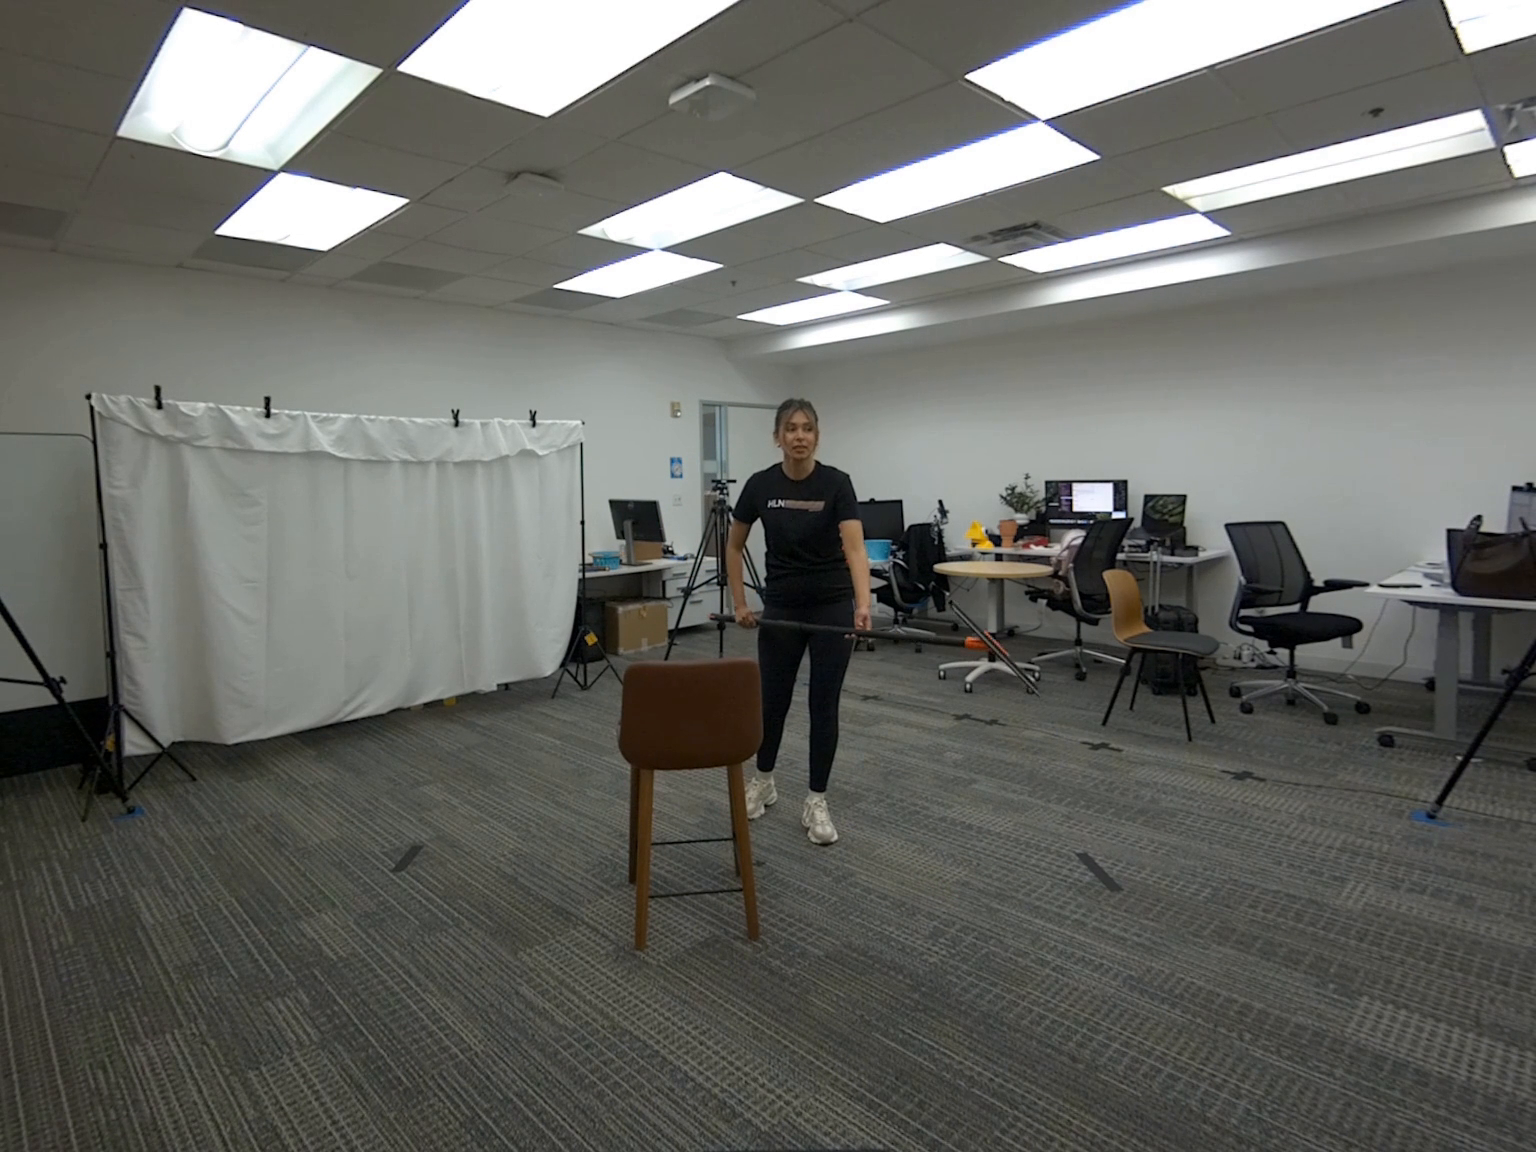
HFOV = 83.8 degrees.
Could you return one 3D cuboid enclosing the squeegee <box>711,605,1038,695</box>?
[{"bbox_3d":[0.193,0.190,3.002,0.423,0.053,1.581,39,-20,-31],"label":"squeegee"}]
